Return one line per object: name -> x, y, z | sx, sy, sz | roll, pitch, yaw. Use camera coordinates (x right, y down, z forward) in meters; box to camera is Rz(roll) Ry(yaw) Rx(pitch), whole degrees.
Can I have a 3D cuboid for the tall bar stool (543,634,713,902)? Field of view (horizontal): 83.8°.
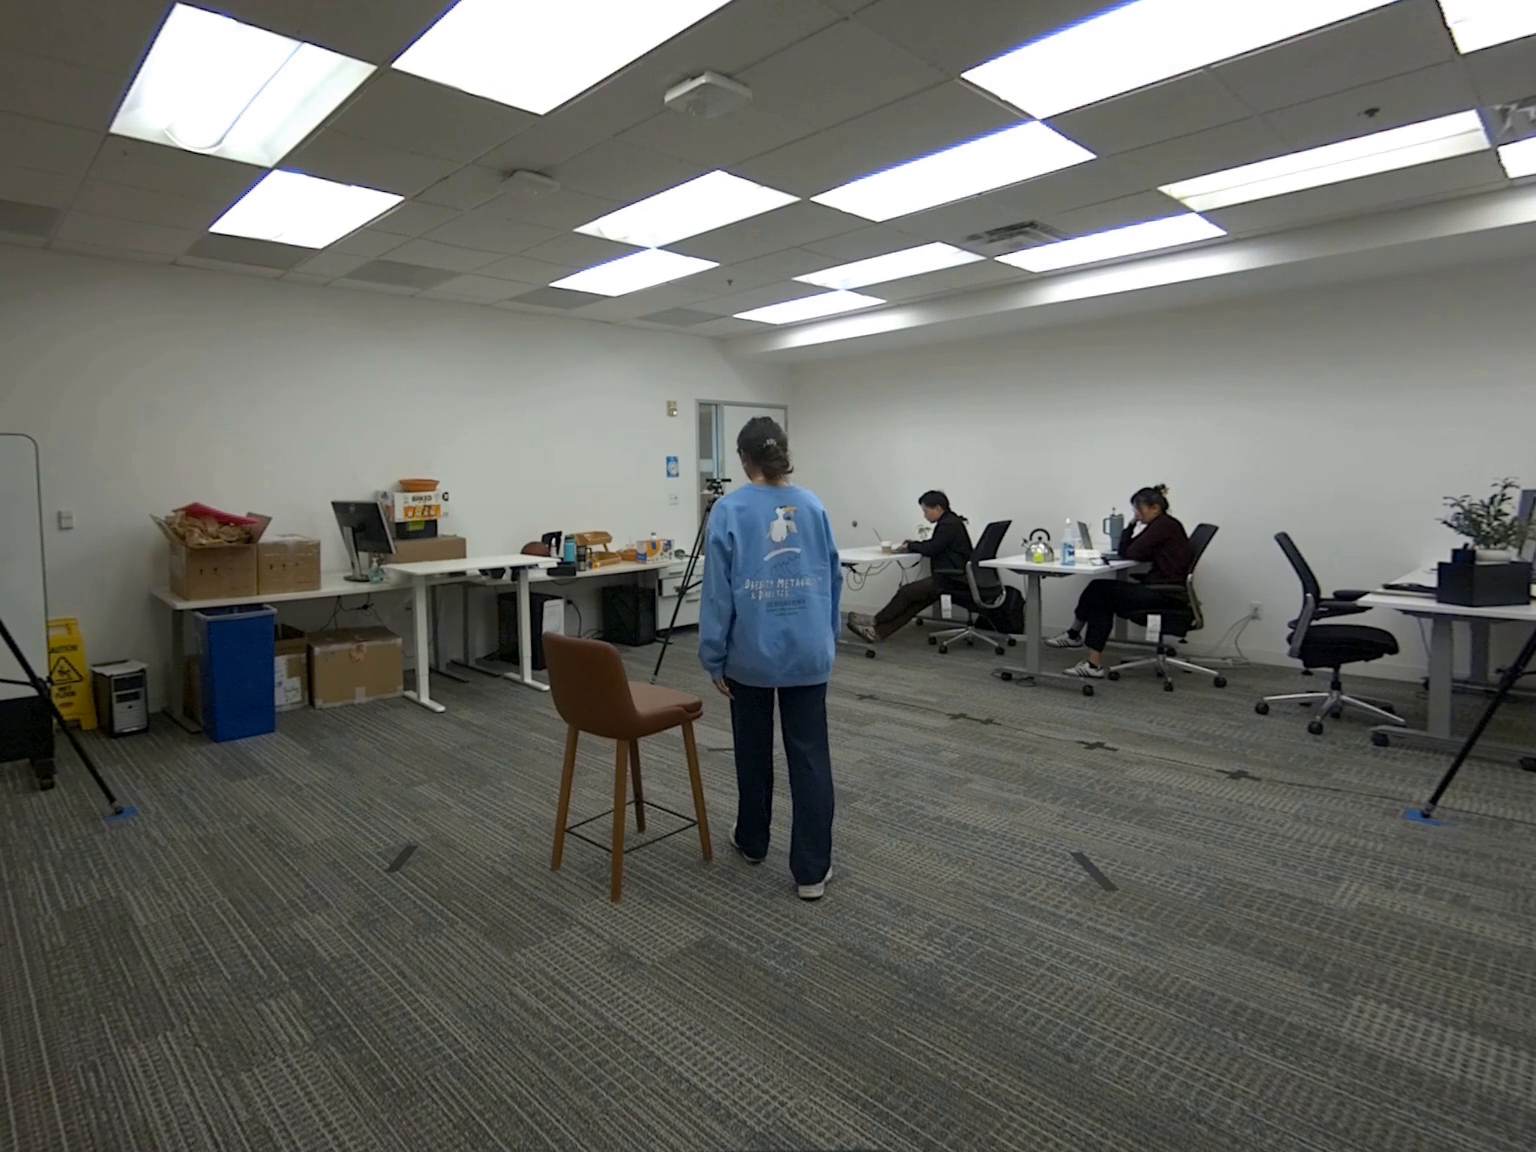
tall bar stool -> -0.513, 0.617, 3.090 | 0.470, 0.885, 0.456 | 3, 7, 43
